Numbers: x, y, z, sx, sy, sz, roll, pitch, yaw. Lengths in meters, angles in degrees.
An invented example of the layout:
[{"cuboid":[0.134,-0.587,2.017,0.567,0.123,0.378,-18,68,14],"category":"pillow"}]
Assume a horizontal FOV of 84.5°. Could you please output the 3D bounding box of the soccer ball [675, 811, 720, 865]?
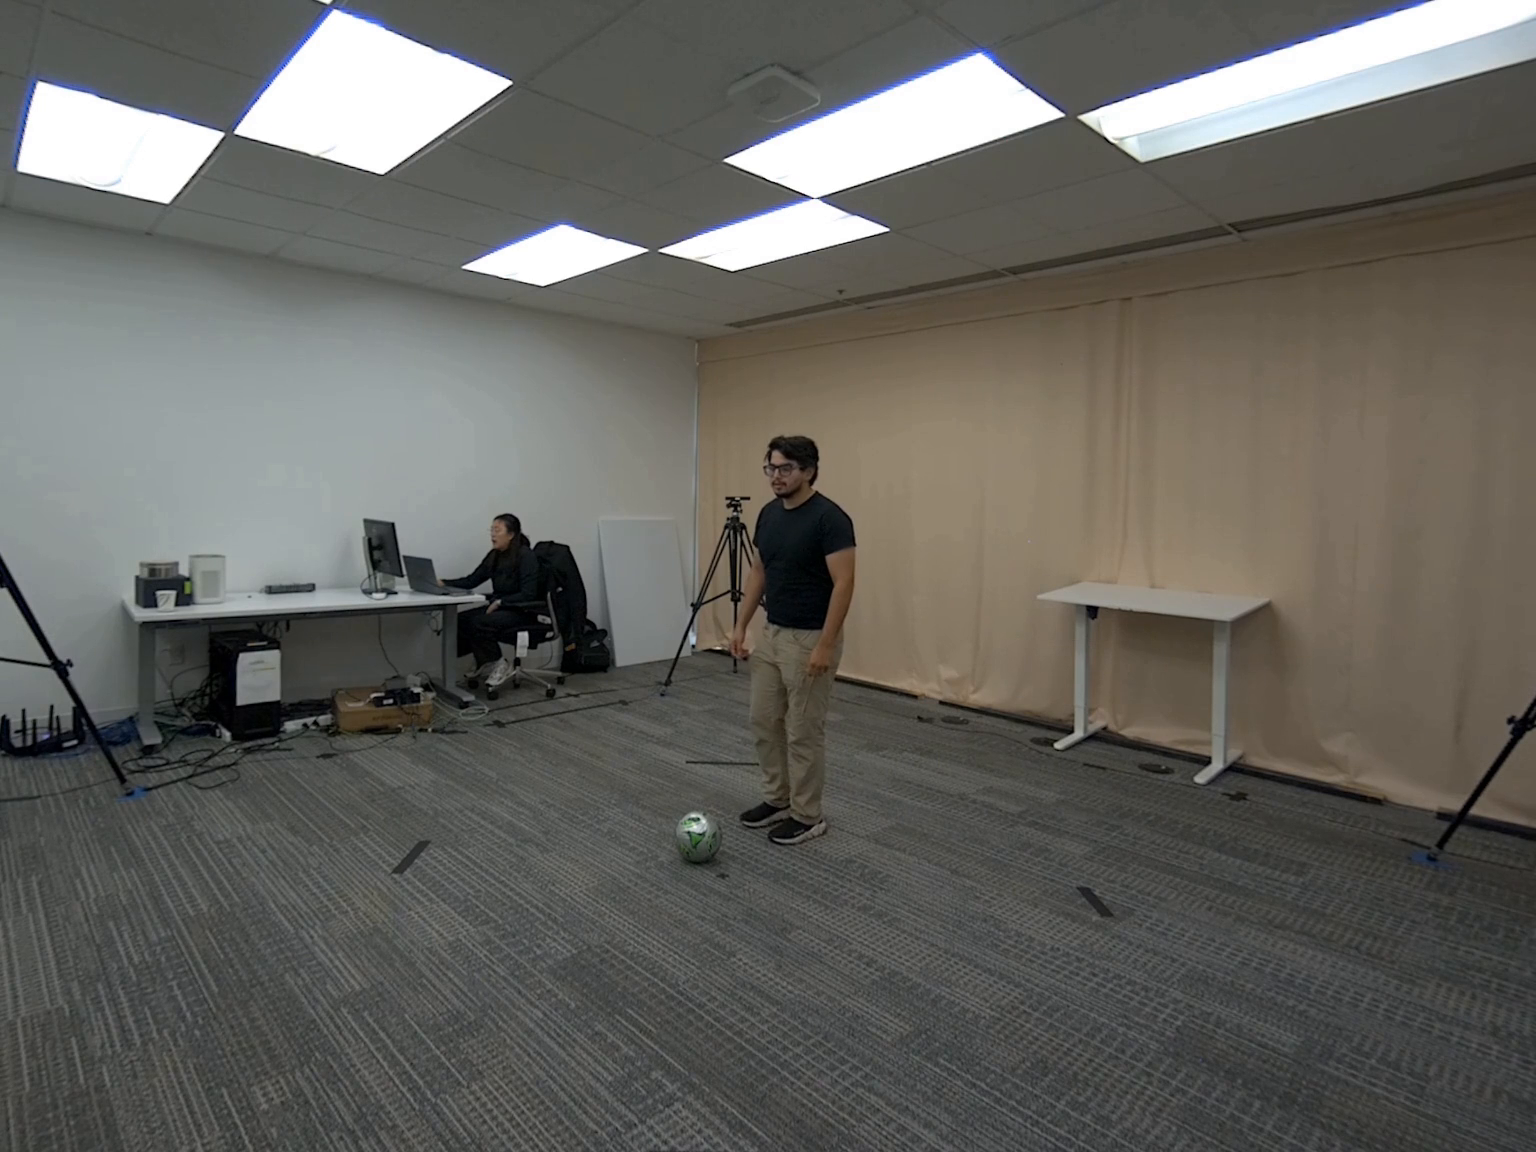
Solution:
[{"cuboid":[-0.272,1.001,3.225,0.187,0.187,0.188,1,4,-1],"category":"soccer ball"}]
